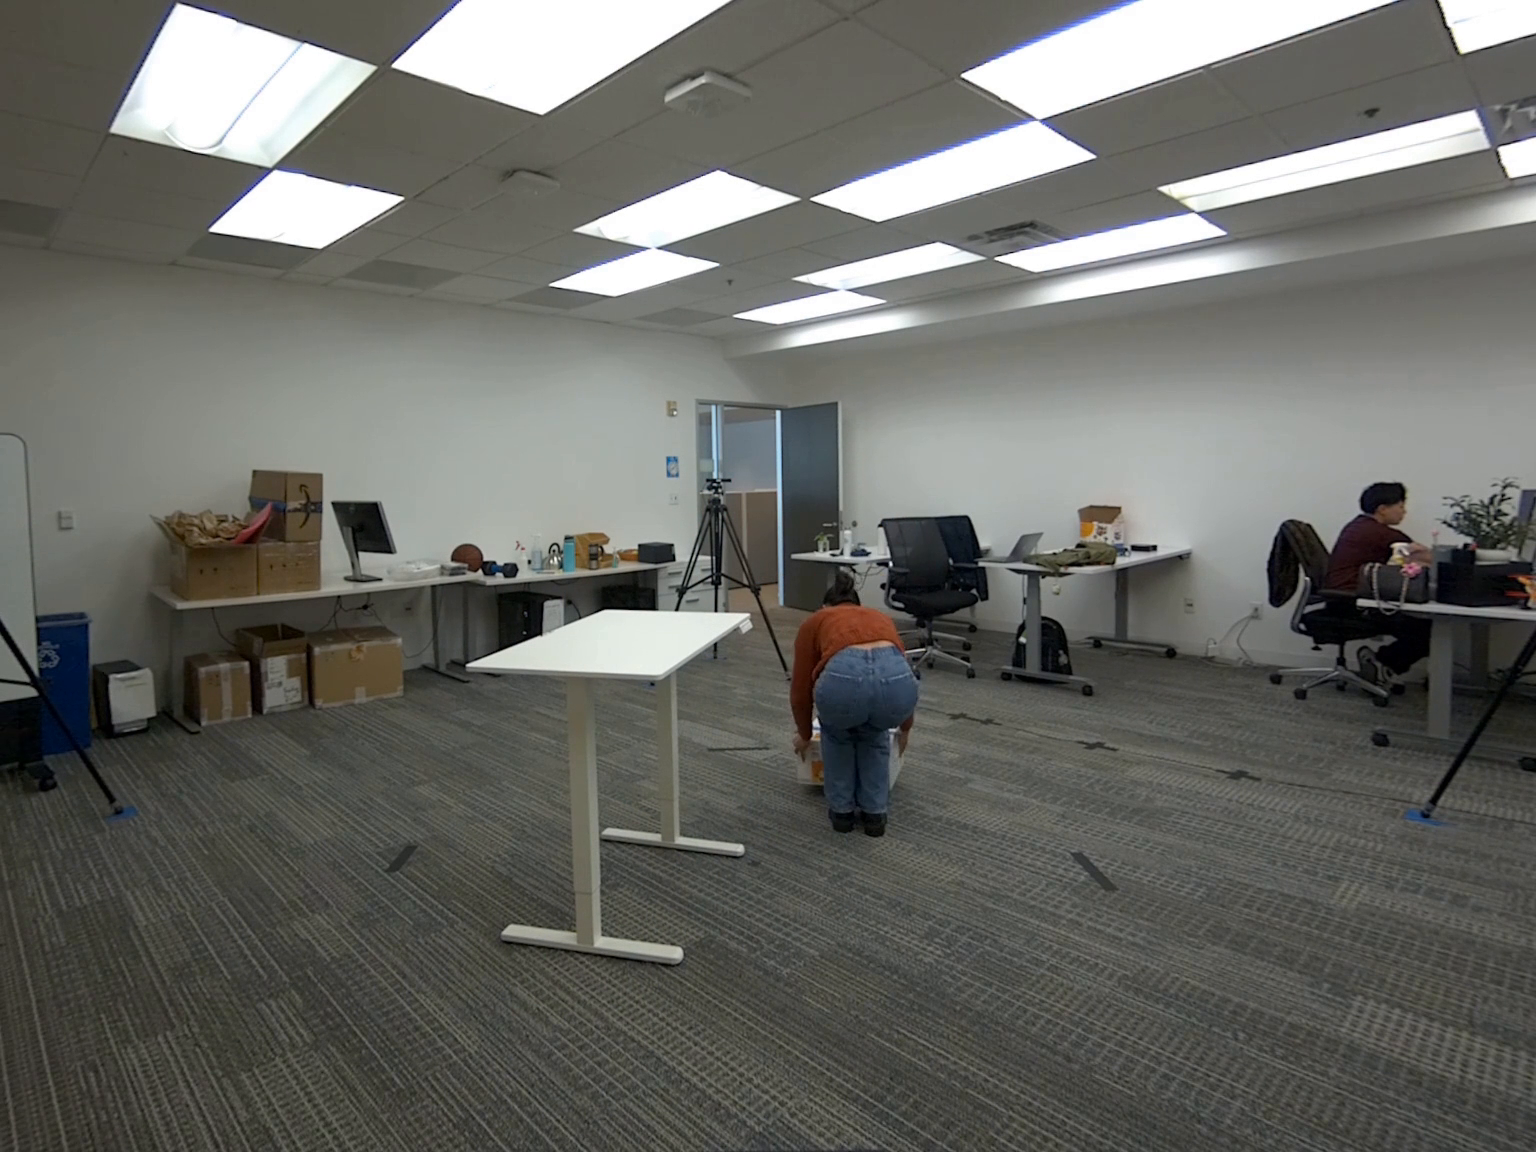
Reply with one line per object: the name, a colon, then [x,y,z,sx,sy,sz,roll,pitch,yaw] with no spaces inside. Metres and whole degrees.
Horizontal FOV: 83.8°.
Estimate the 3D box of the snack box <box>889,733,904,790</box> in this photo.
snack box: [0.379,0.785,3.838,0.413,0.205,0.335,-1,6,20]
